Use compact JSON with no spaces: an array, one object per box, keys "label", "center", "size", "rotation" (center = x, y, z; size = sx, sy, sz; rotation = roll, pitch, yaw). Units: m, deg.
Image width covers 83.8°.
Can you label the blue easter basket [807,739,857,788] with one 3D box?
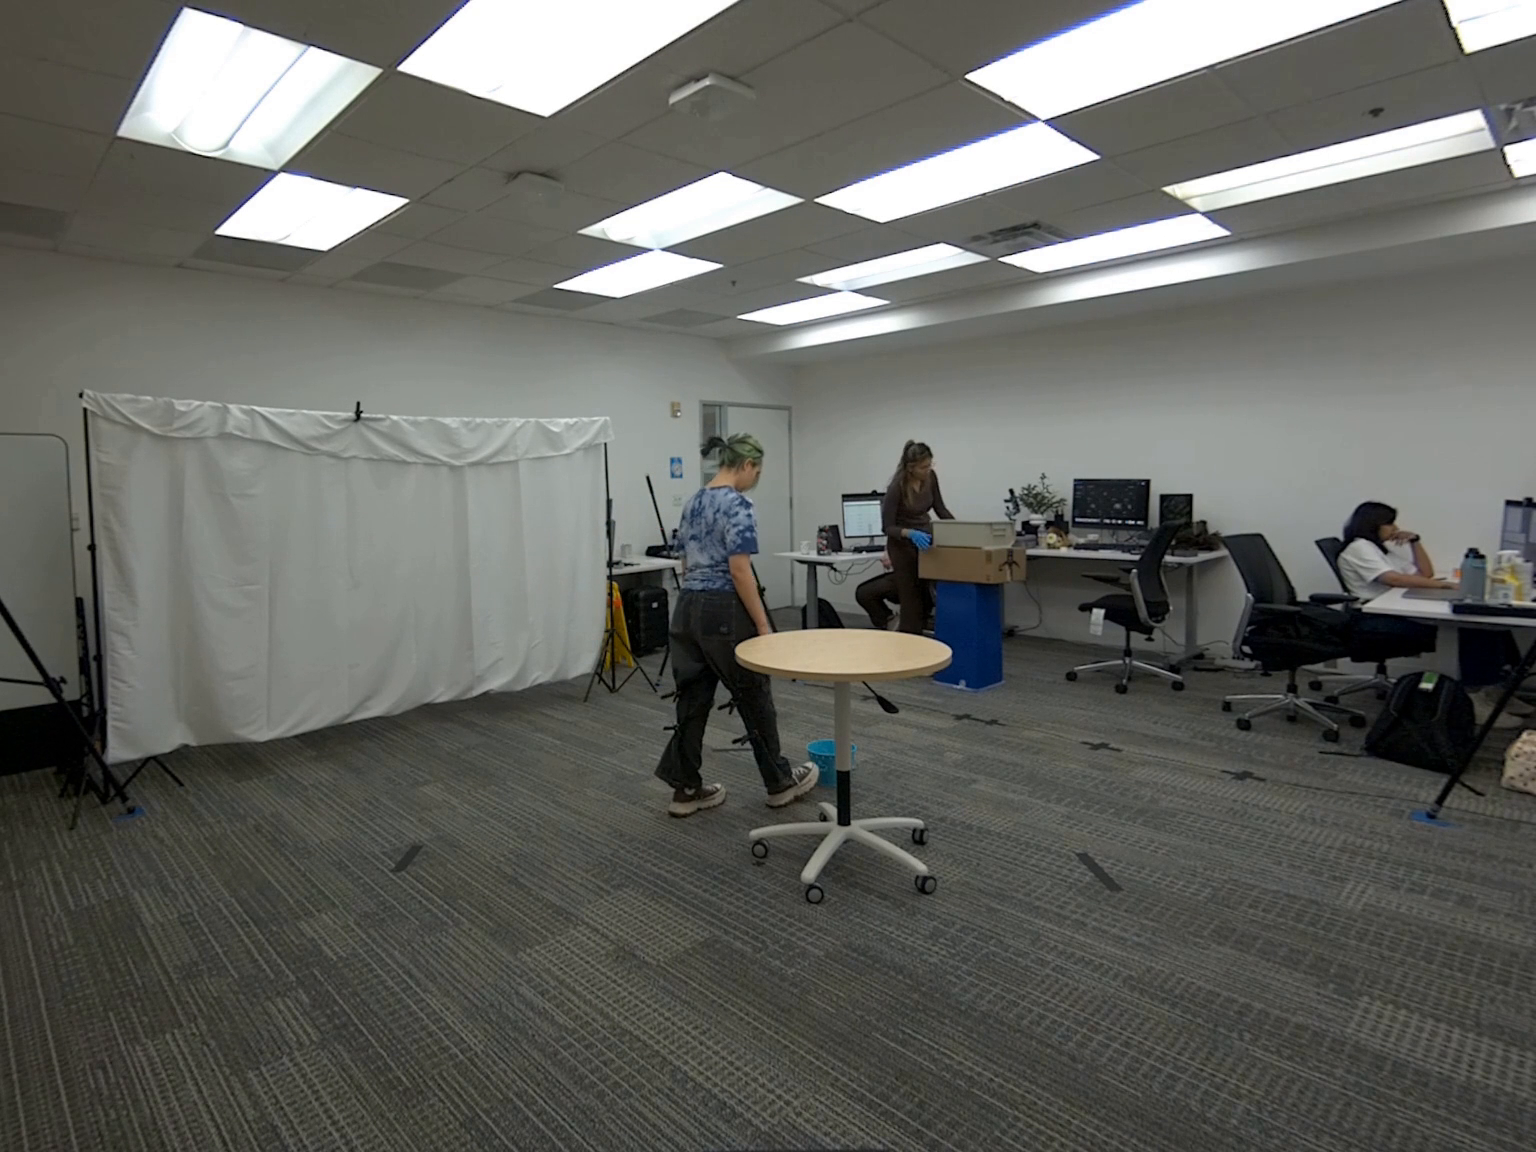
[{"label":"blue easter basket","center":[0.300,0.868,3.968],"size":[0.243,0.155,0.245],"rotation":[-2,6,-2]}]
